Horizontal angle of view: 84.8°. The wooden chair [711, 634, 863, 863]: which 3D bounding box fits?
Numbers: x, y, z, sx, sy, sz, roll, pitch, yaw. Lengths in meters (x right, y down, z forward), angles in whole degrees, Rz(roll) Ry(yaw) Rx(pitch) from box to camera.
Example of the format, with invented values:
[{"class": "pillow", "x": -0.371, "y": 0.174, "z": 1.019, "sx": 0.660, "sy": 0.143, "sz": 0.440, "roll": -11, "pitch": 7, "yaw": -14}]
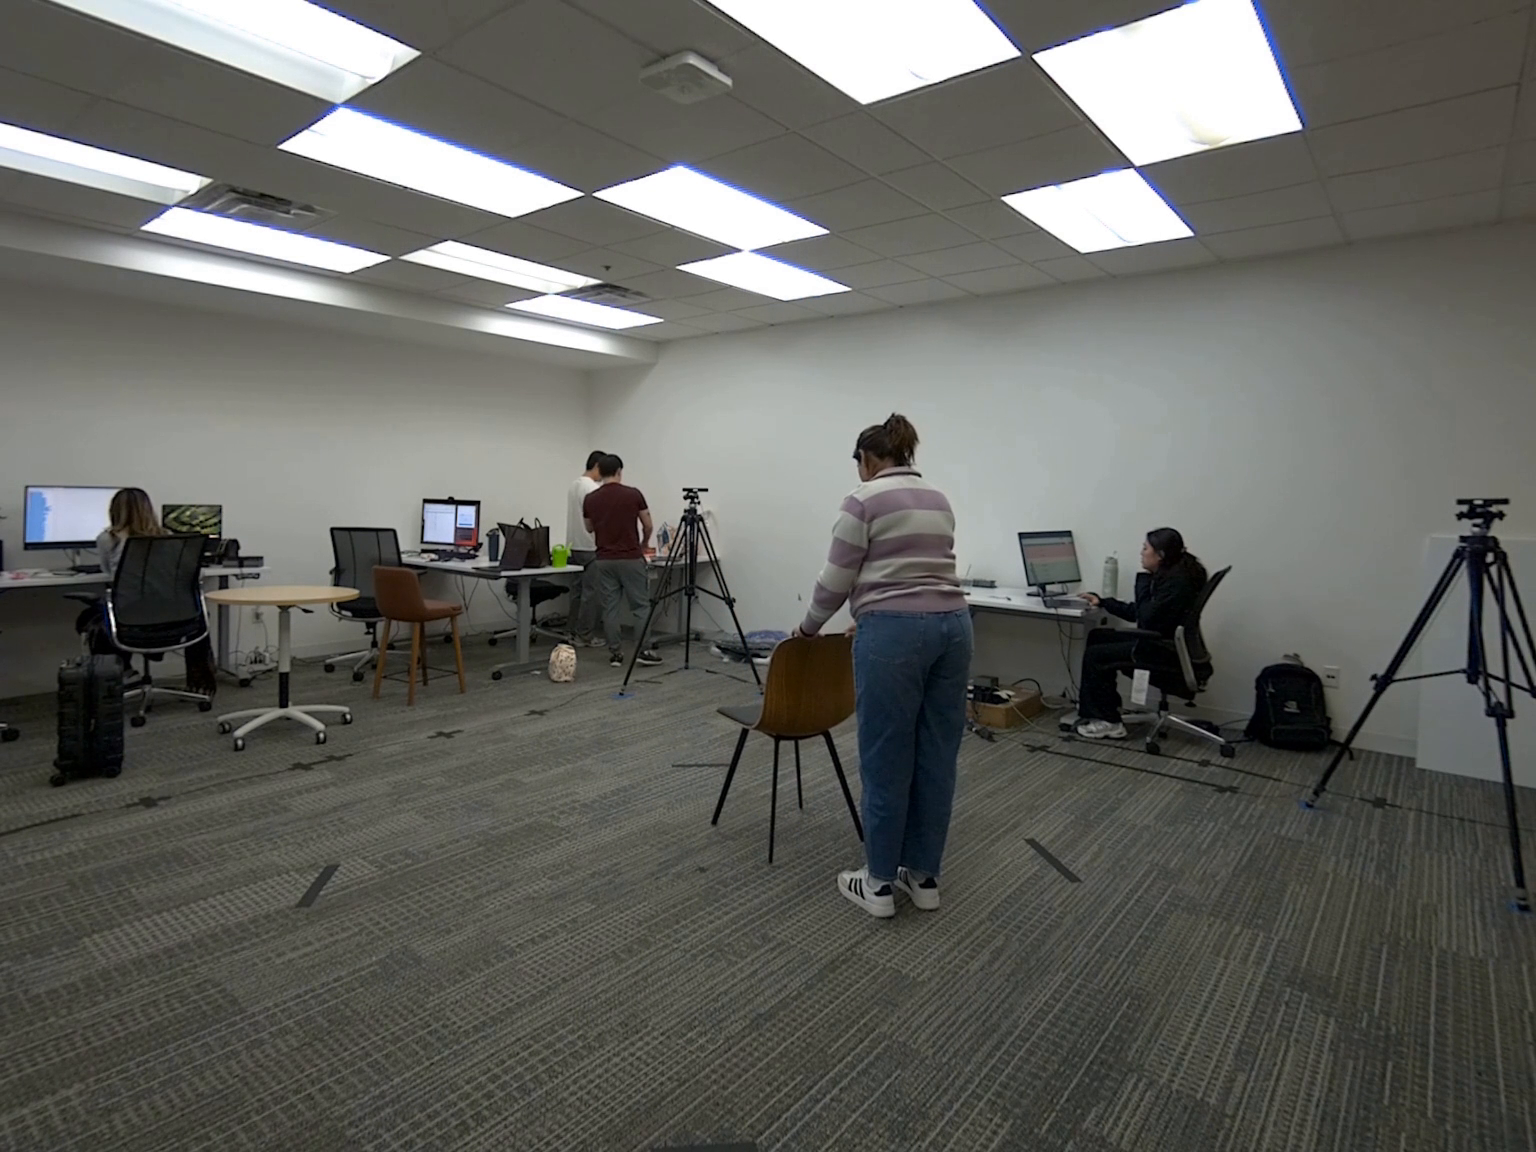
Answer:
[{"class": "wooden chair", "x": 0.062, "y": 0.611, "z": 3.436, "sx": 0.465, "sy": 0.873, "sz": 0.540, "roll": -1, "pitch": 6, "yaw": -31}]
